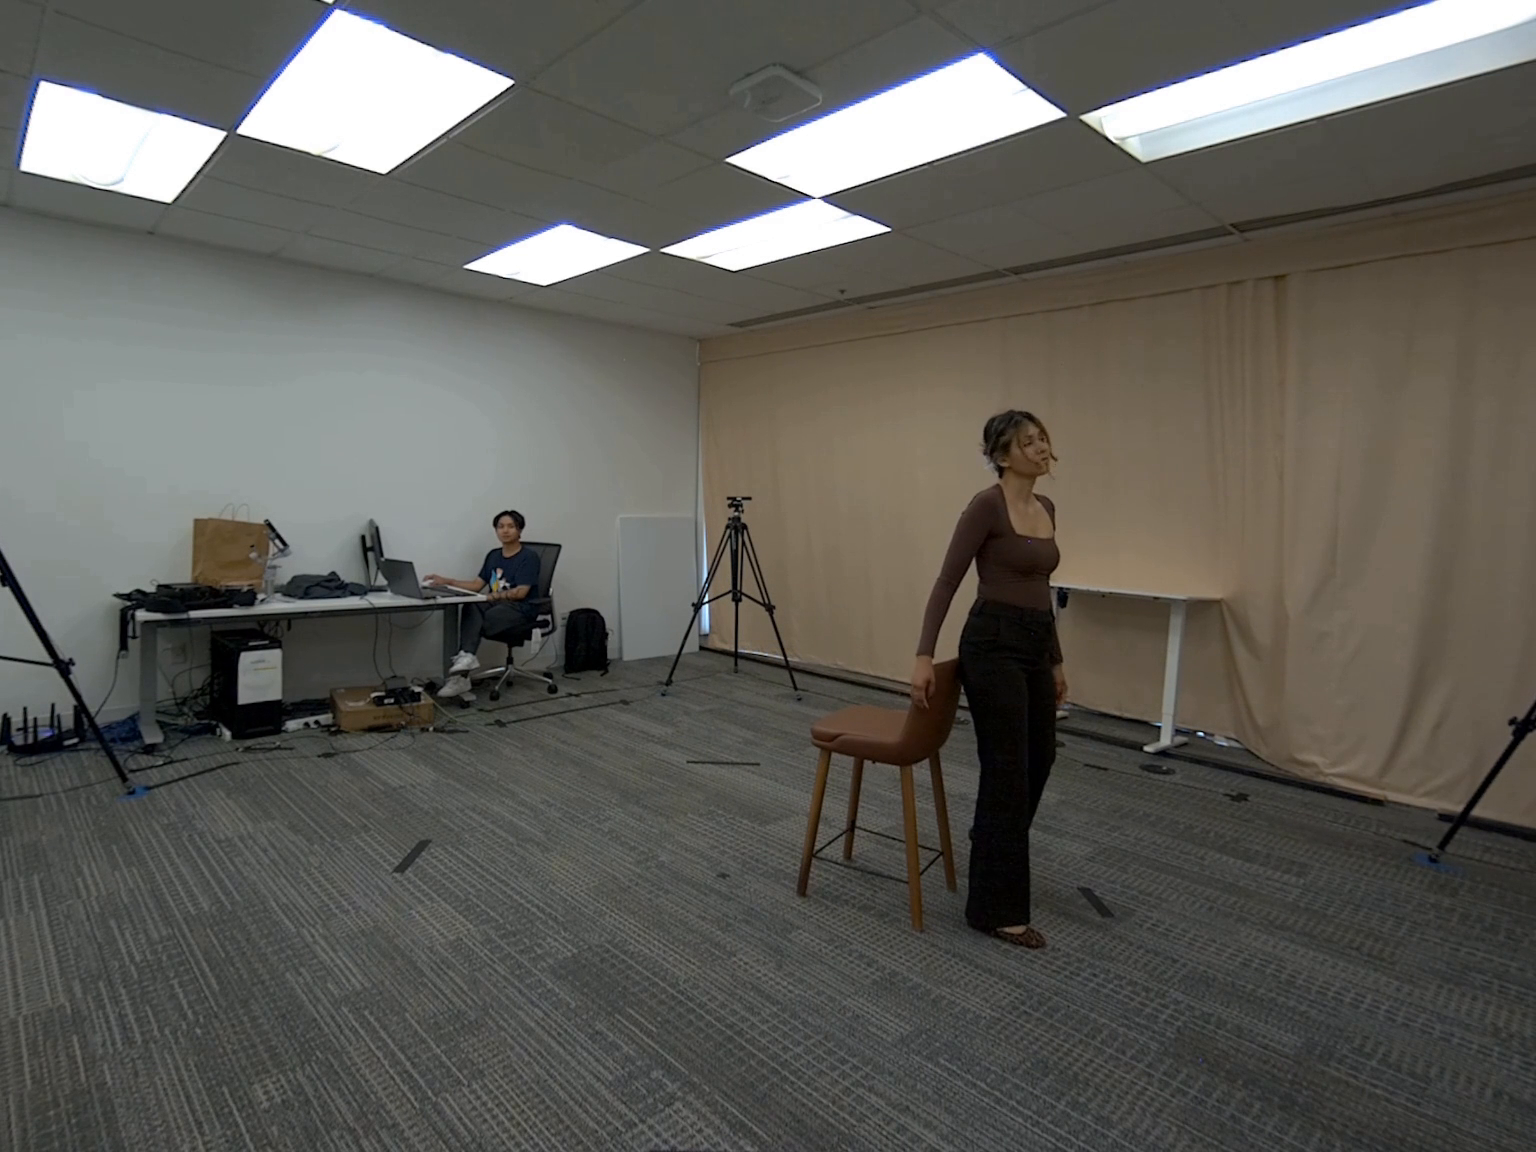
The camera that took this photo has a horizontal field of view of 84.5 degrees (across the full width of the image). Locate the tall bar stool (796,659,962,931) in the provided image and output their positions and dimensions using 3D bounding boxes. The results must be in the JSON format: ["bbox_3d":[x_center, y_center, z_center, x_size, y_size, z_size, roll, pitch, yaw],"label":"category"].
[{"bbox_3d":[0.410,0.693,2.976,0.479,0.887,0.447,6,6,32],"label":"tall bar stool"}]
